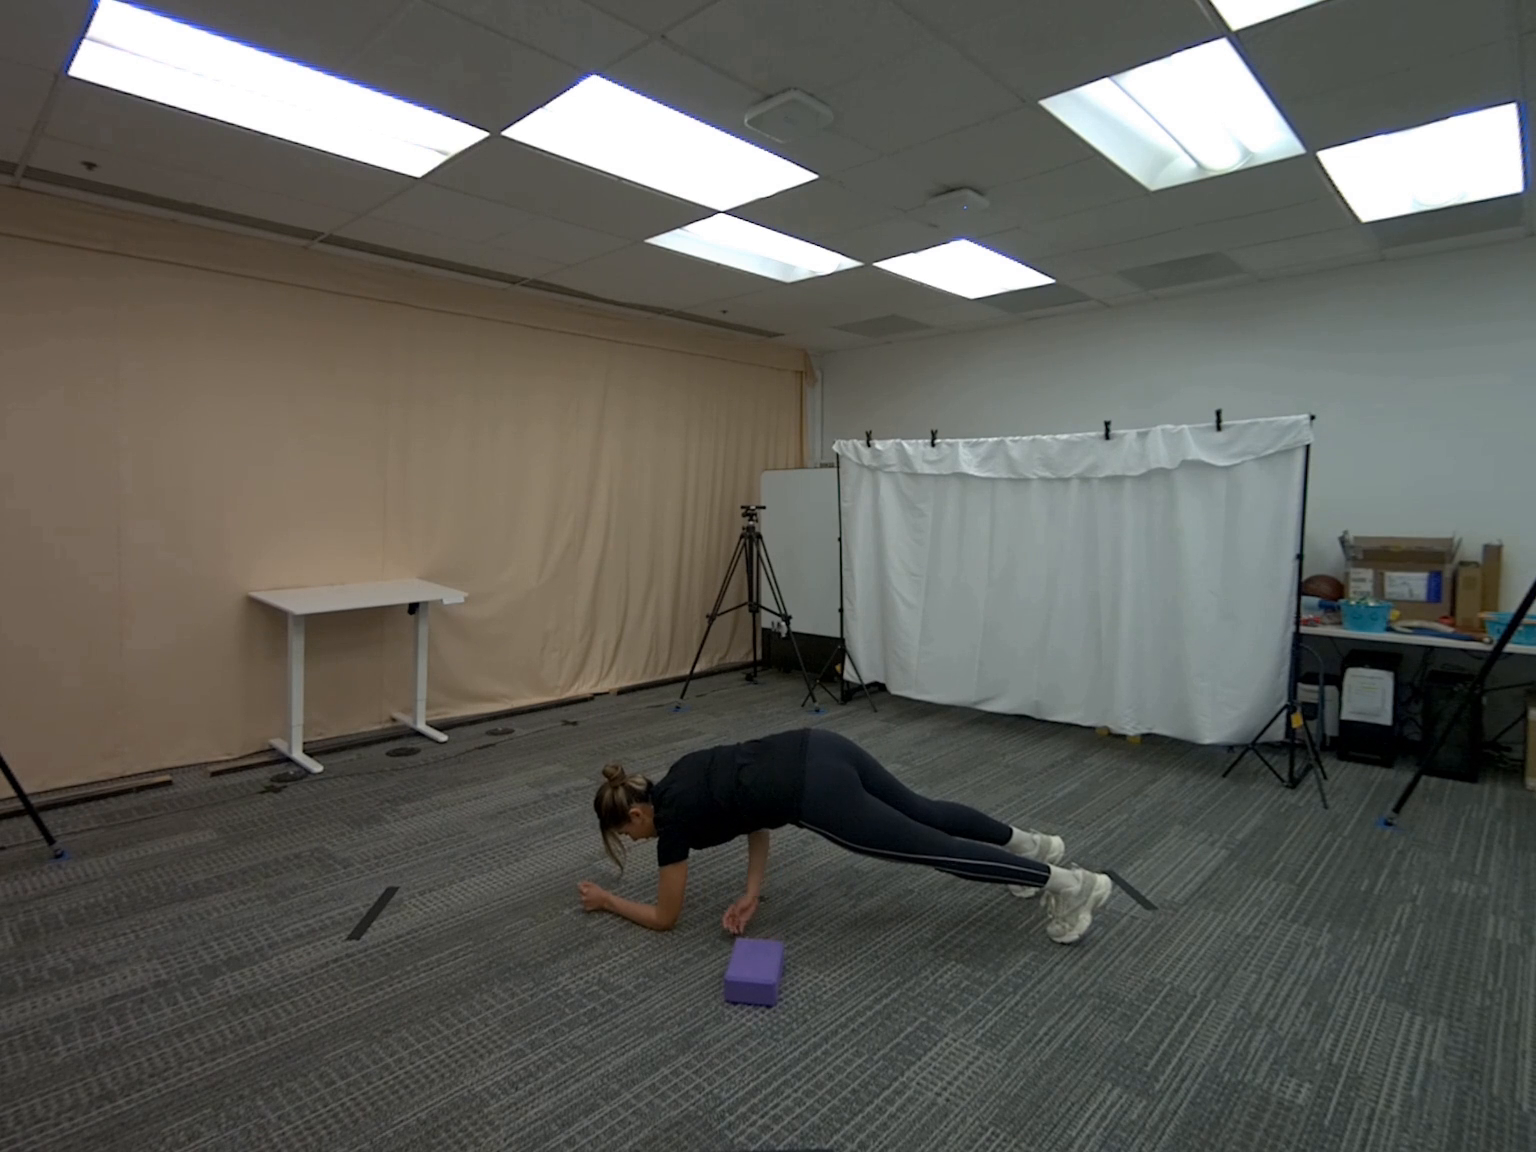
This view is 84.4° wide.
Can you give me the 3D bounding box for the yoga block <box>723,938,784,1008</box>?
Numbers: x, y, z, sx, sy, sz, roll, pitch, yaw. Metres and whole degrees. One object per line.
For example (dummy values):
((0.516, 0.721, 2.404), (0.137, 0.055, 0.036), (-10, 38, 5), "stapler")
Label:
((-0.036, 1.147, 2.450), (0.150, 0.076, 0.227), (1, 5, 8), "yoga block")
